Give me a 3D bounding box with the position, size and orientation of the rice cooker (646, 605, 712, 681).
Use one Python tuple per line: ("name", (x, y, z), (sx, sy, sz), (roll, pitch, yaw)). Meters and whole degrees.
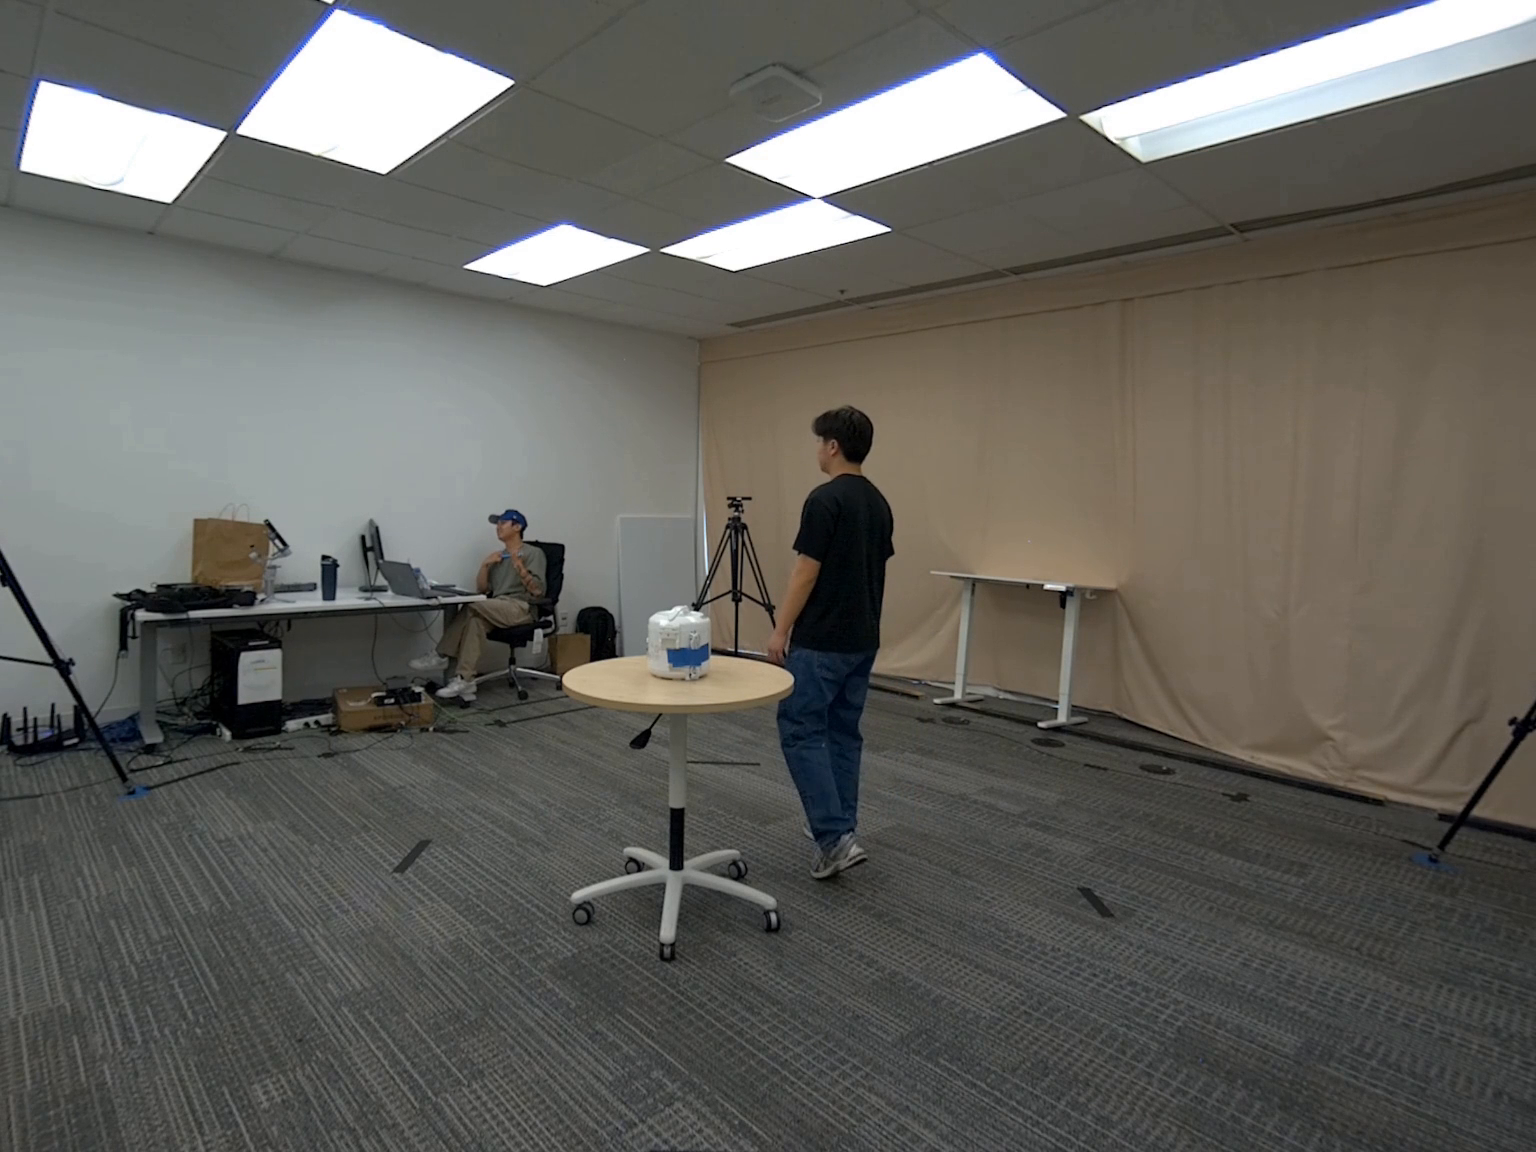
("rice cooker", (-0.305, 0.220, 2.814), (0.220, 0.232, 0.218), (3, 5, 15))
